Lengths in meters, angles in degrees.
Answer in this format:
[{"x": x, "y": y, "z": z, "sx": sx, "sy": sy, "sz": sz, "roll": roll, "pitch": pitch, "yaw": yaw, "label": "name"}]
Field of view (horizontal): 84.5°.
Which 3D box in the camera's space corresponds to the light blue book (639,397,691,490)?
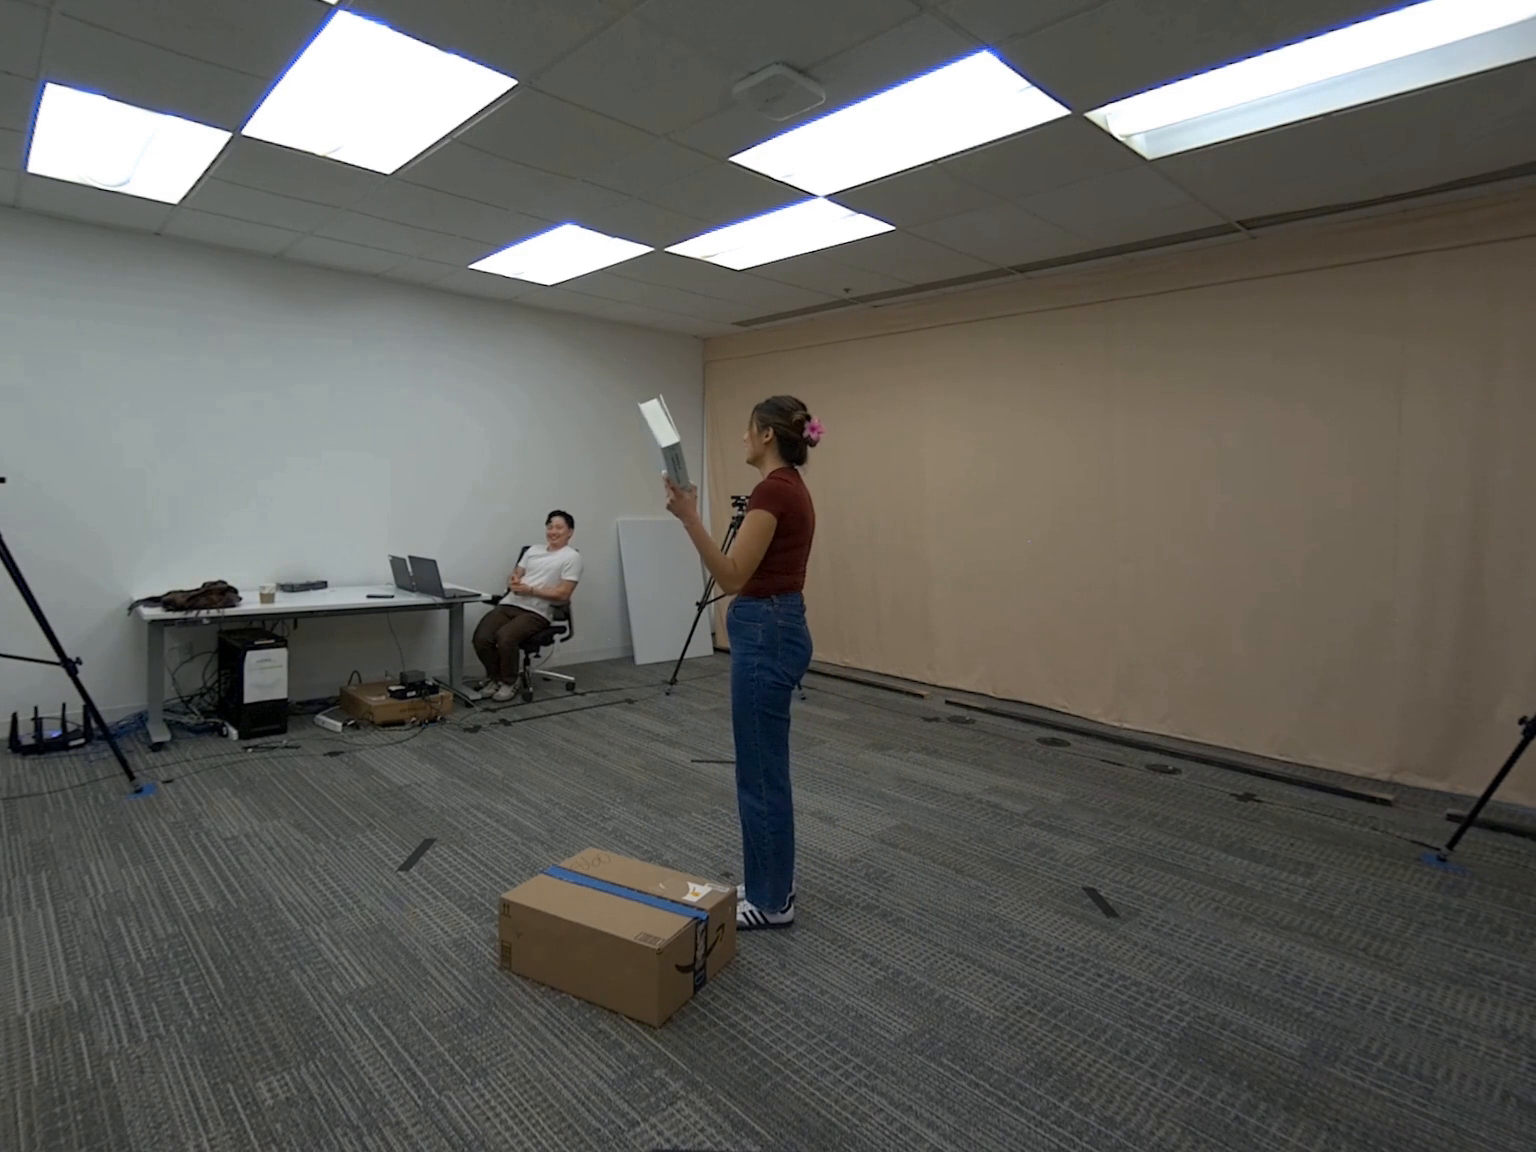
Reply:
[{"x": -0.301, "y": -0.367, "z": 2.462, "sx": 0.059, "sy": 0.196, "sz": 0.255, "roll": -22, "pitch": -31, "yaw": -8, "label": "light blue book"}]
